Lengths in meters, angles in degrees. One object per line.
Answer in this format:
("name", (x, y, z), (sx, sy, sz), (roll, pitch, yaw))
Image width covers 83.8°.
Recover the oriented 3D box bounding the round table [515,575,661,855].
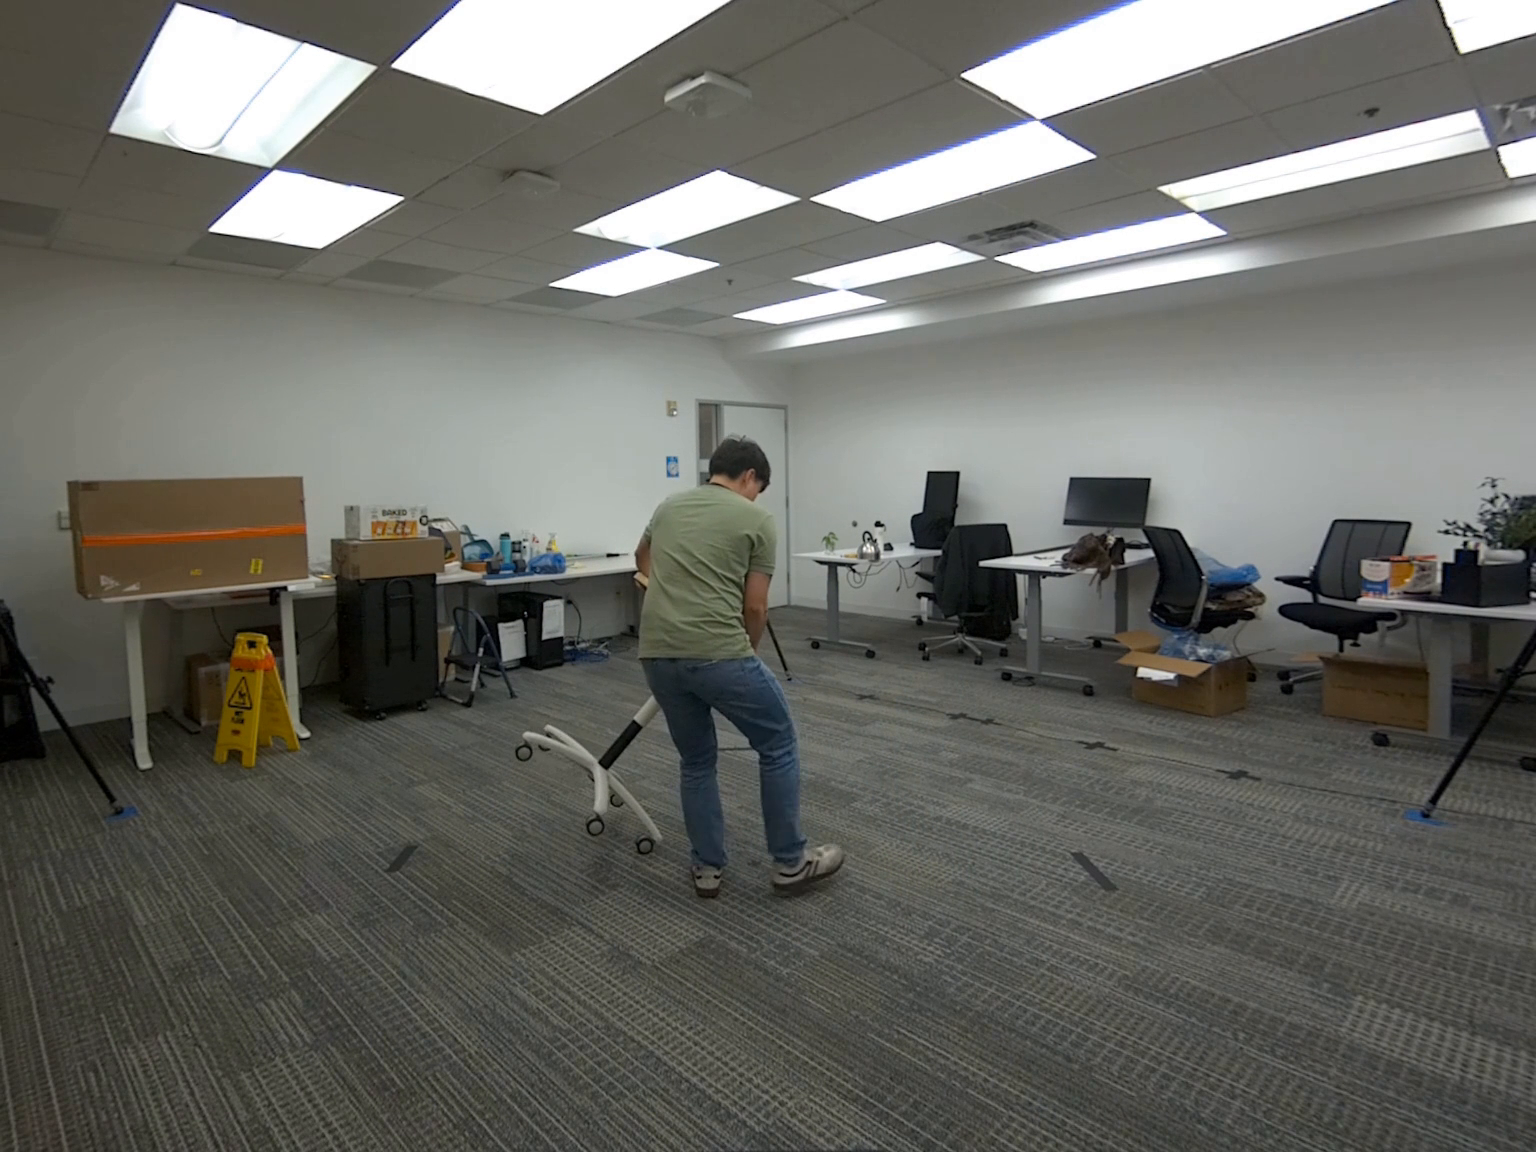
("round table", (-0.477, 0.532, 3.301), (0.770, 0.794, 0.758), (39, -8, 4))
